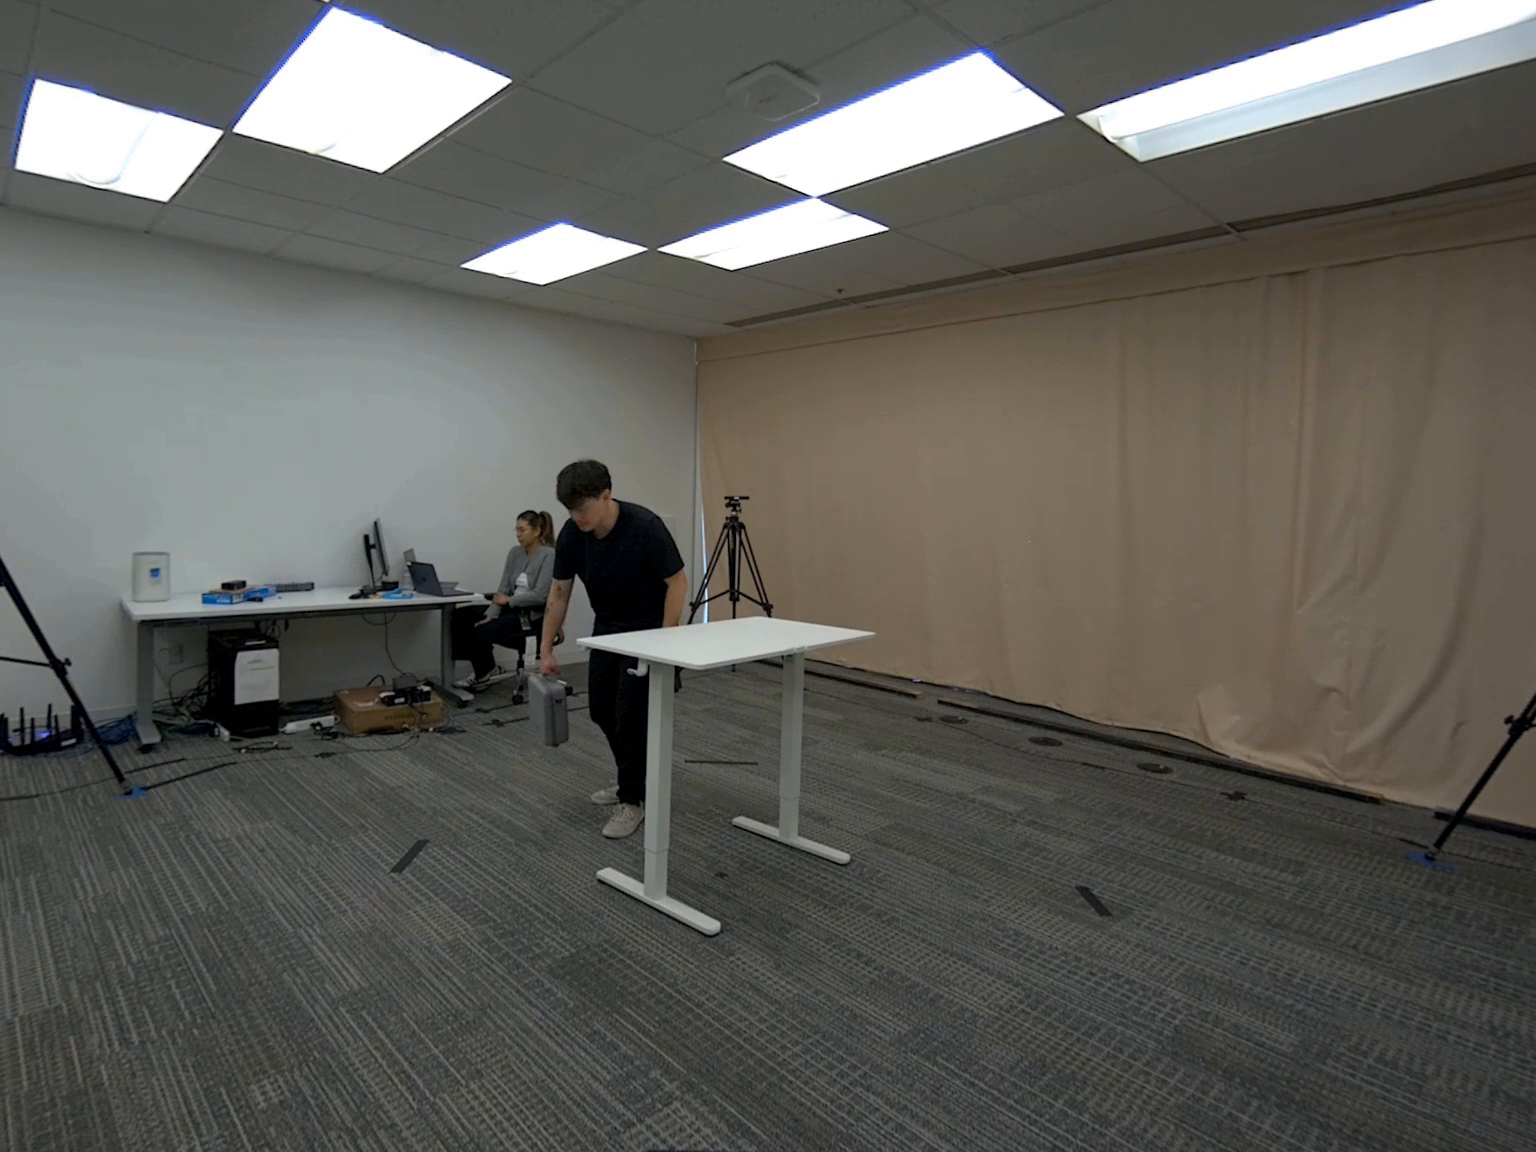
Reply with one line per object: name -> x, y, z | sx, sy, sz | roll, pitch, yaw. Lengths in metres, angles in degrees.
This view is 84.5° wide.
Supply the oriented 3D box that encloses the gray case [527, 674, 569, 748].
gray case -> -0.936, 0.555, 3.579 | 0.102, 0.258, 0.263 | -6, 12, -30
